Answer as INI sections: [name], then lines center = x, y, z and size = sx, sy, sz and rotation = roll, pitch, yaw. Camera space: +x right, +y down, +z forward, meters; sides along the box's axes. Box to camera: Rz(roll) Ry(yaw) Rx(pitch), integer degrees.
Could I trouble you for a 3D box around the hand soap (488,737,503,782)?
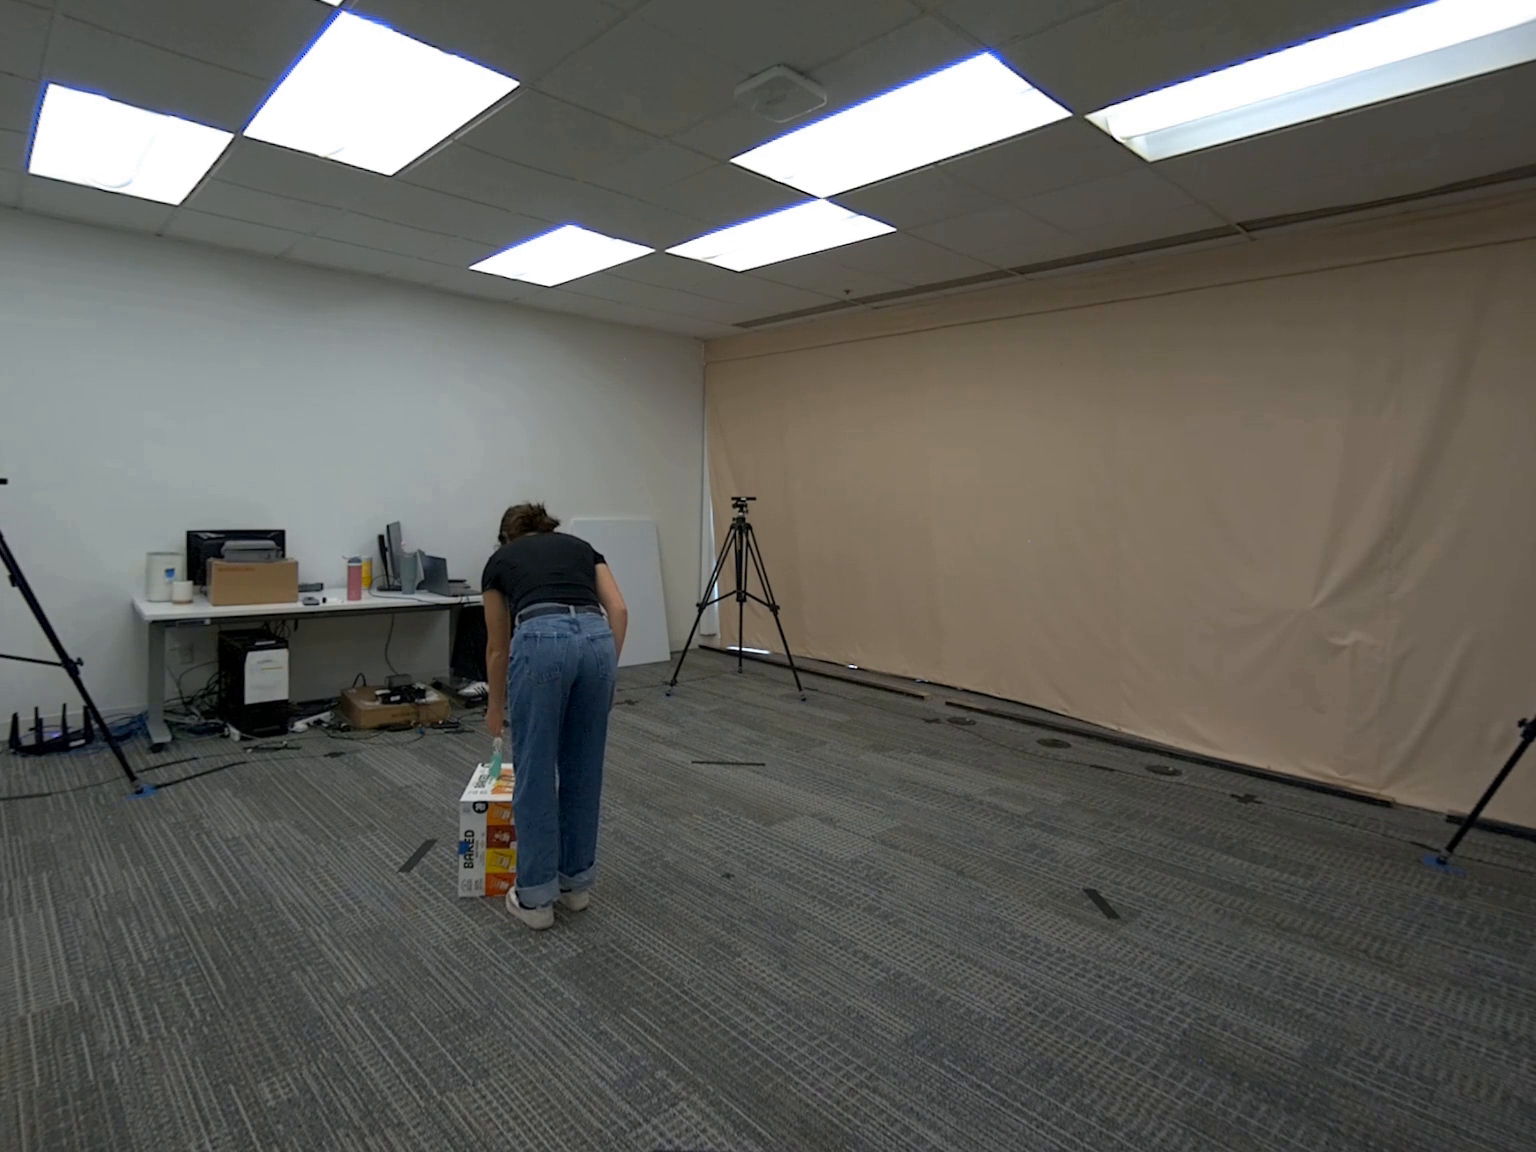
[hand soap]
center = -1.012, 0.653, 3.136
size = 0.042, 0.168, 0.087
rotation = 6, 2, -36
